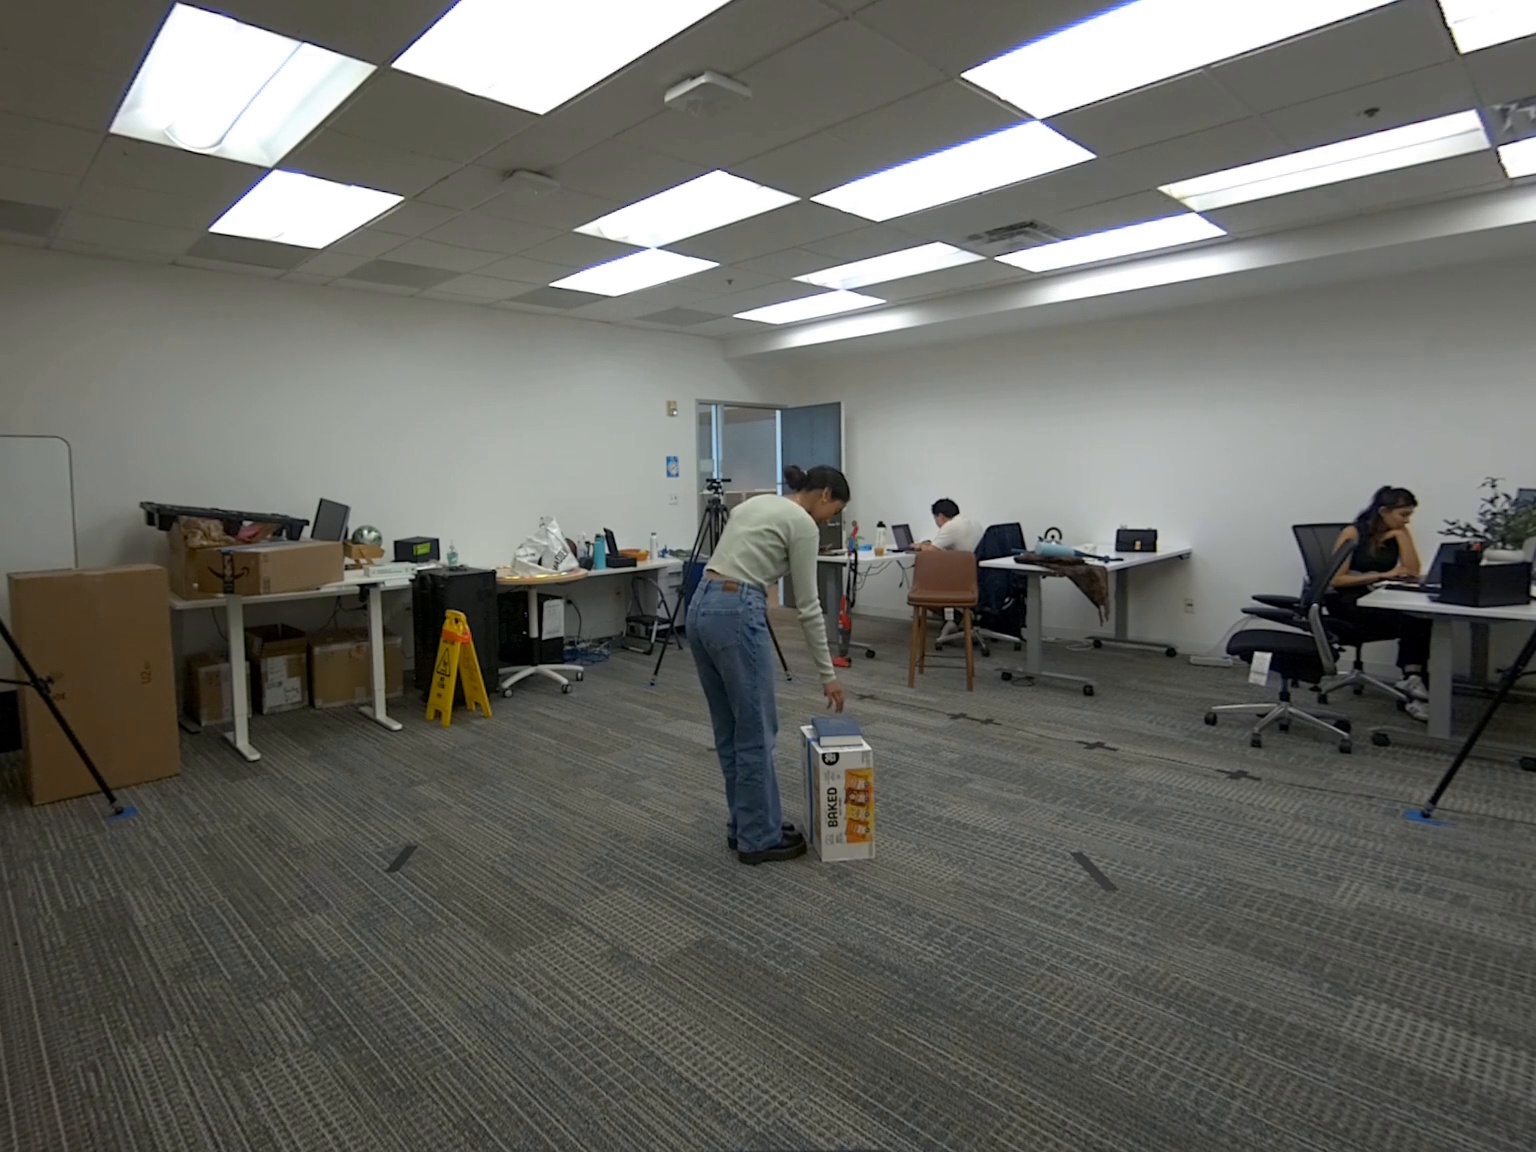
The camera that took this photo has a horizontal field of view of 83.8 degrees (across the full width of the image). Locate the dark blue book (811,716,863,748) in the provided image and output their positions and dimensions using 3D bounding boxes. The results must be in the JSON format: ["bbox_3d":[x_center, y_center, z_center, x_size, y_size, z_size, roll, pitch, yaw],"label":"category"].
[{"bbox_3d":[0.260,0.596,3.277,0.163,0.045,0.246,-1,6,-2],"label":"dark blue book"}]
